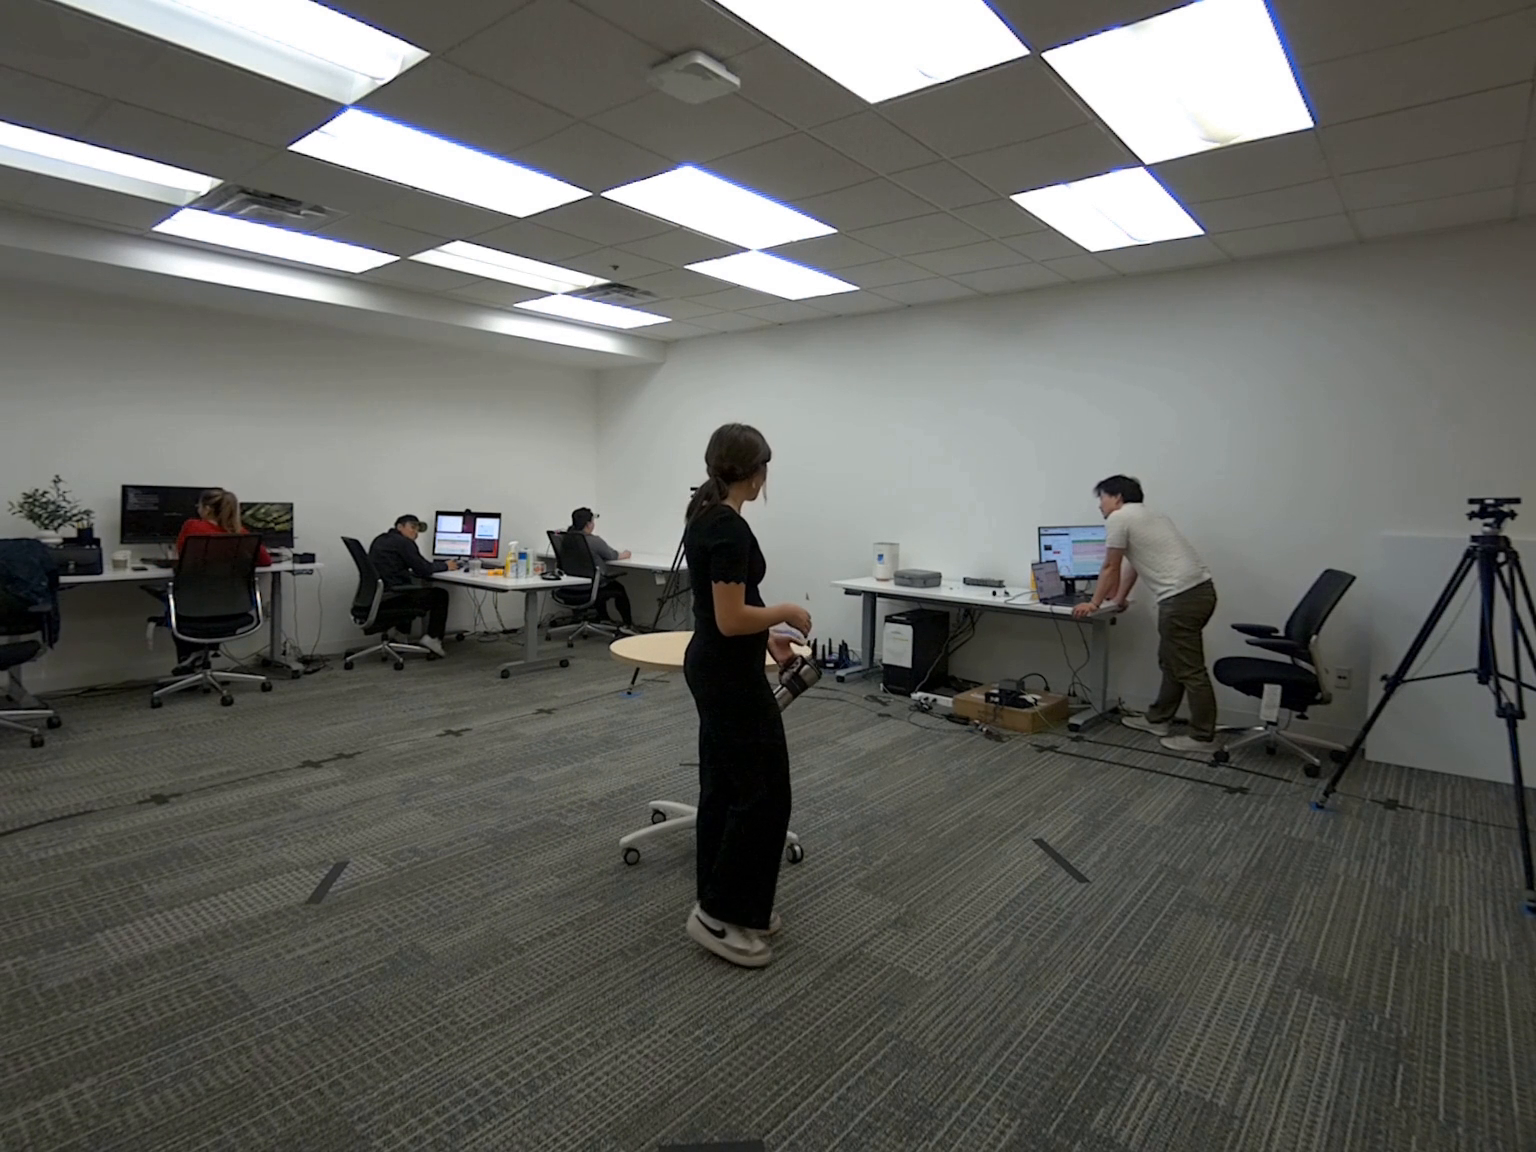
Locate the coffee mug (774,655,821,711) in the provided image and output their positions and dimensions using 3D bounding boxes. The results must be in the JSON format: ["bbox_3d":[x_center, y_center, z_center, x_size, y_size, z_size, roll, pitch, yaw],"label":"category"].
[{"bbox_3d":[0.052,0.343,2.762,0.126,0.202,0.085,46,-9,24],"label":"coffee mug"}]
